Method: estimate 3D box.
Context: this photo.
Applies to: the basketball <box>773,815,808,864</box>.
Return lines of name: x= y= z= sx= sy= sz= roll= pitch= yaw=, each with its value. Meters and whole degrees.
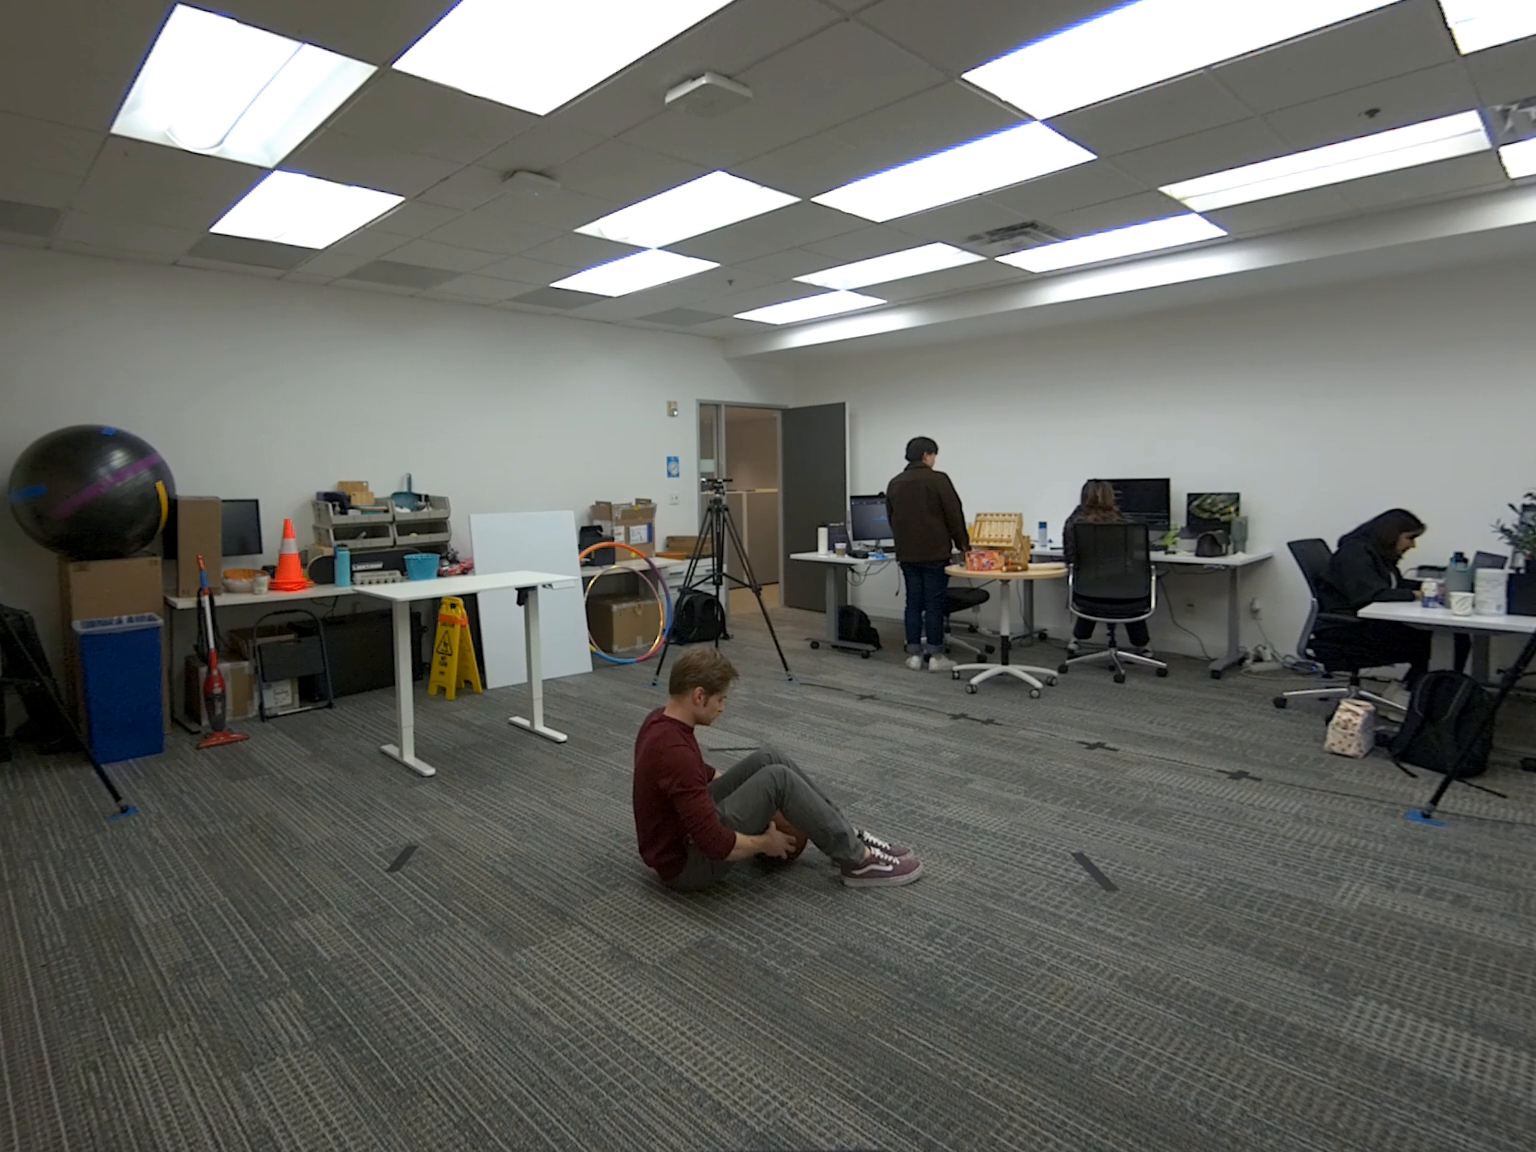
basketball: x=0.031 y=0.925 z=3.107 sx=0.236 sy=0.235 sz=0.237 roll=-1 pitch=5 yaw=-2
